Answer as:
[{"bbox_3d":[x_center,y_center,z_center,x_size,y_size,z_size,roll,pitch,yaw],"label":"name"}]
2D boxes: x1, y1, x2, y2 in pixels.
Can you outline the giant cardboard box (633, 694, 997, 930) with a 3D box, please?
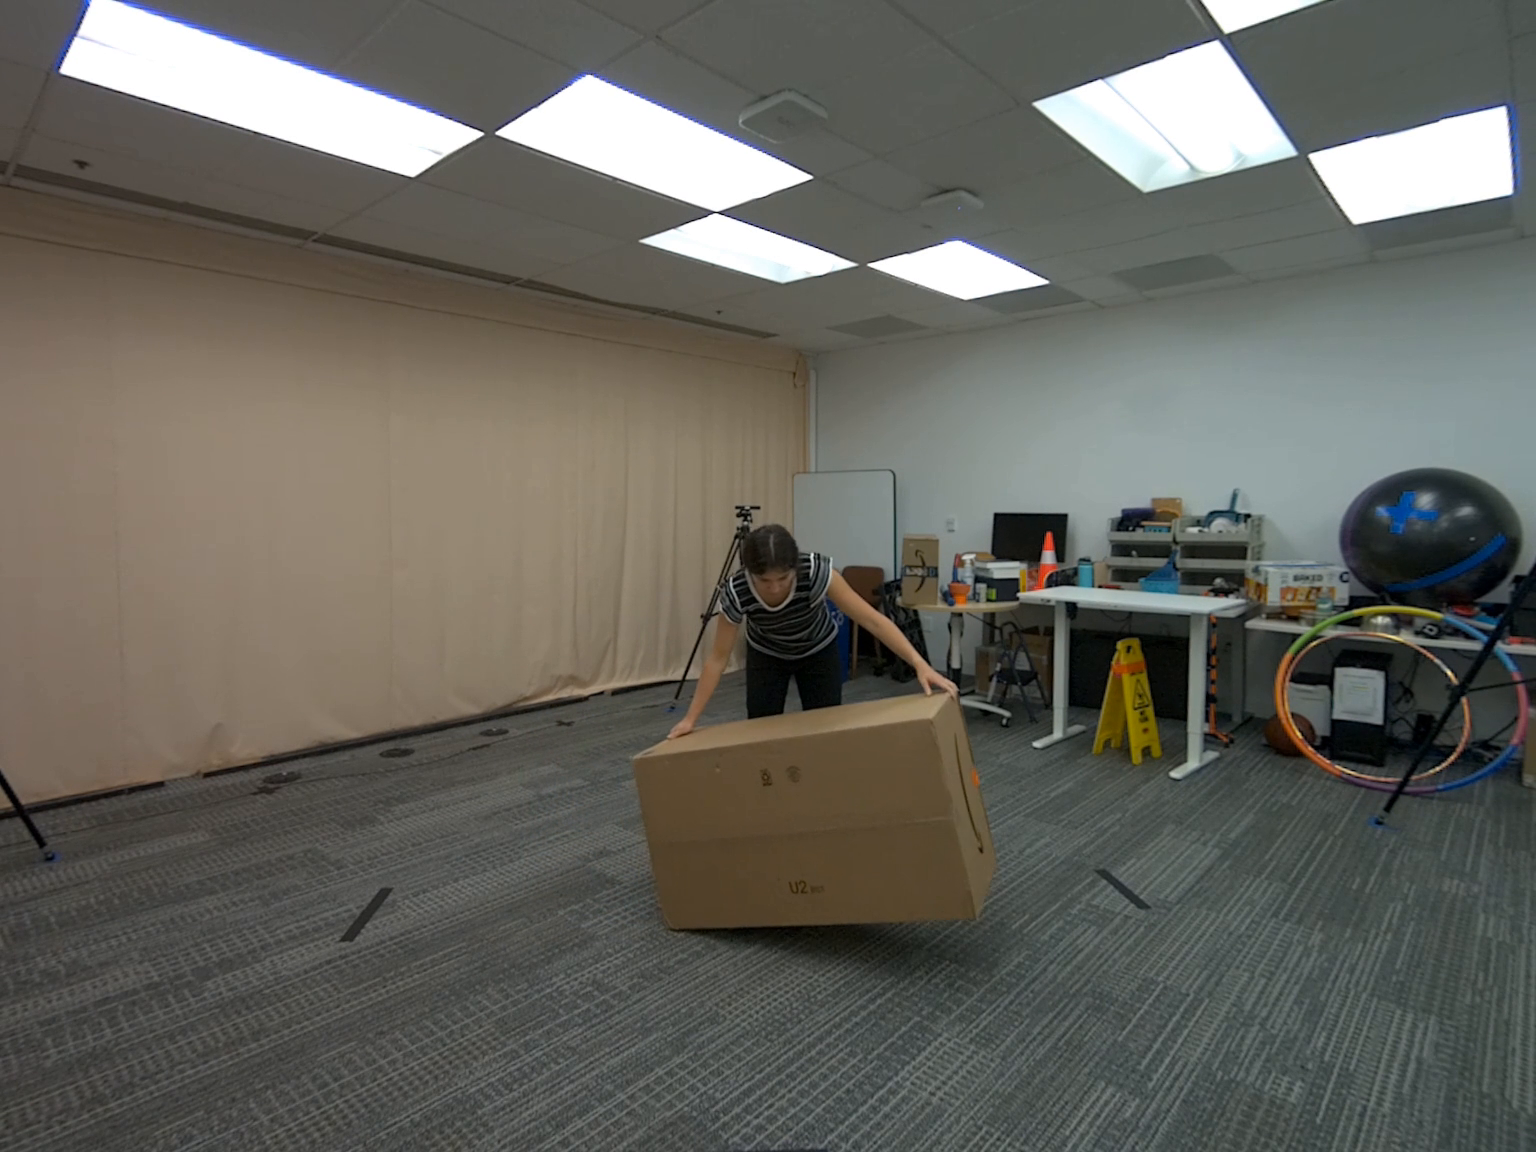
[{"bbox_3d":[0.146,0.768,2.760,1.047,0.579,0.416,-13,-3,24],"label":"giant cardboard box"}]
